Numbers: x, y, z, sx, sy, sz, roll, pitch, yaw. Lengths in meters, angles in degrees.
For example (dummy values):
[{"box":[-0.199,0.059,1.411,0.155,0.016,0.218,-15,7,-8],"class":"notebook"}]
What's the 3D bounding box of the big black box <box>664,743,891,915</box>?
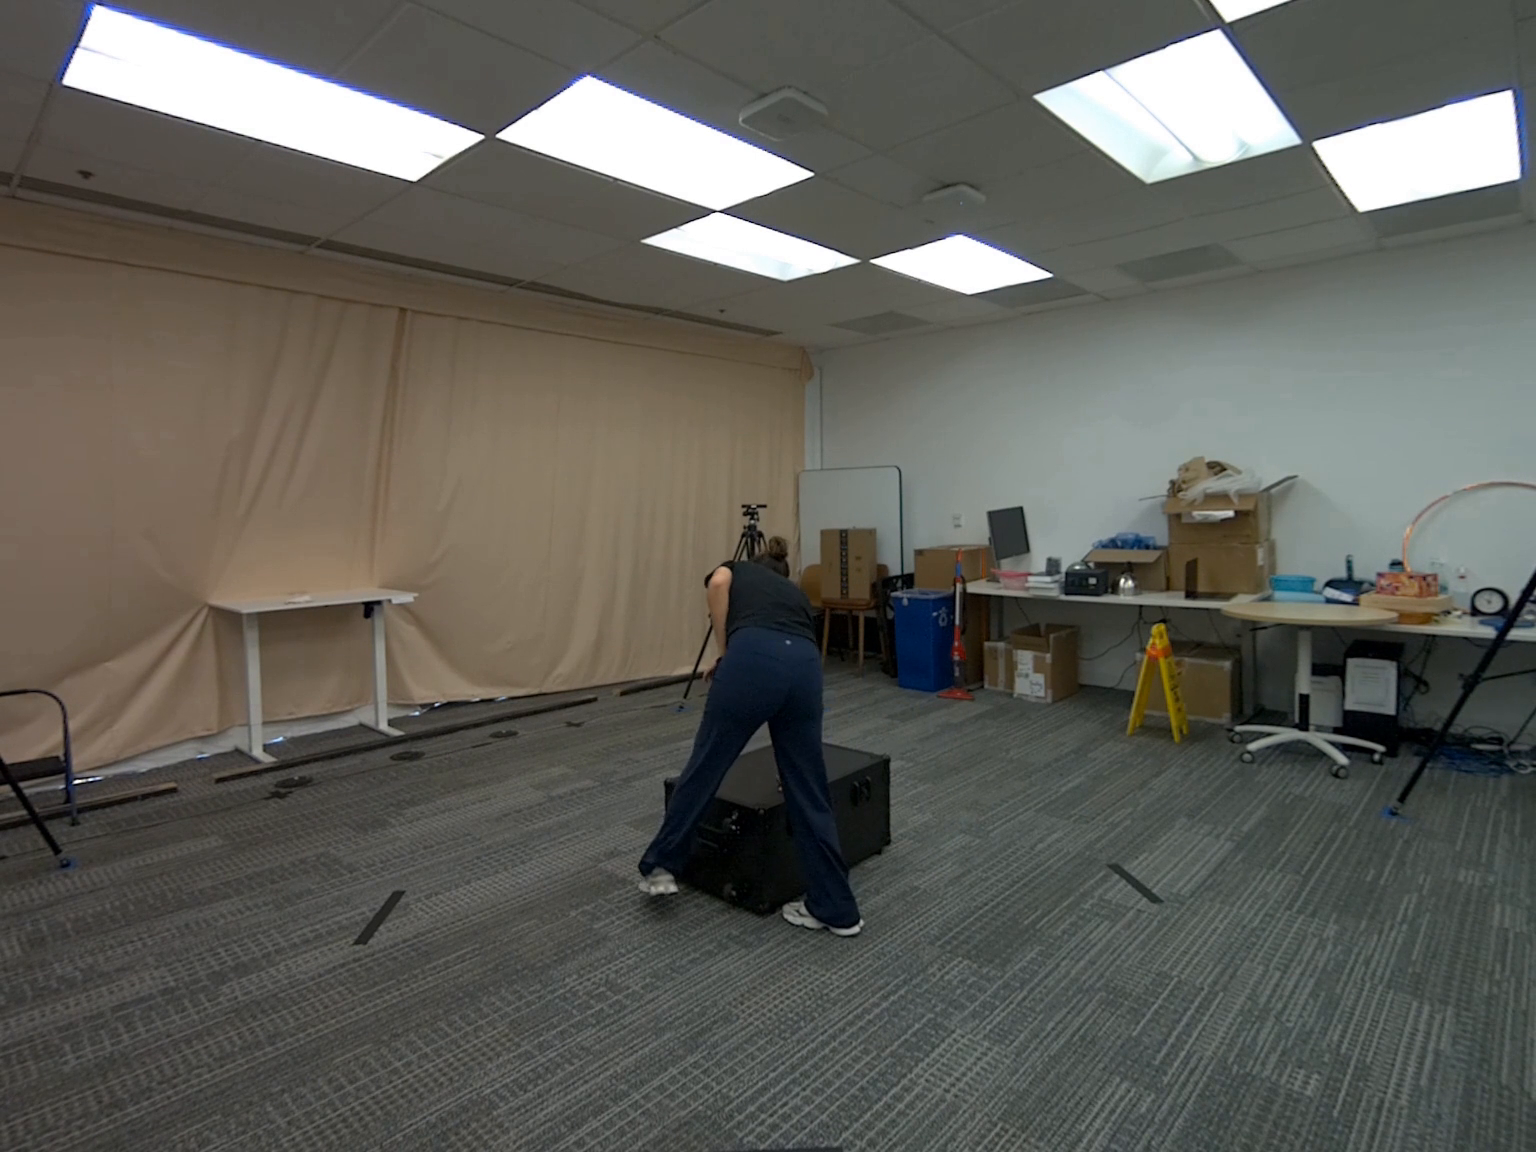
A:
[{"box":[0.050,0.912,3.226,0.538,0.395,0.836,3,7,42],"class":"big black box"}]
